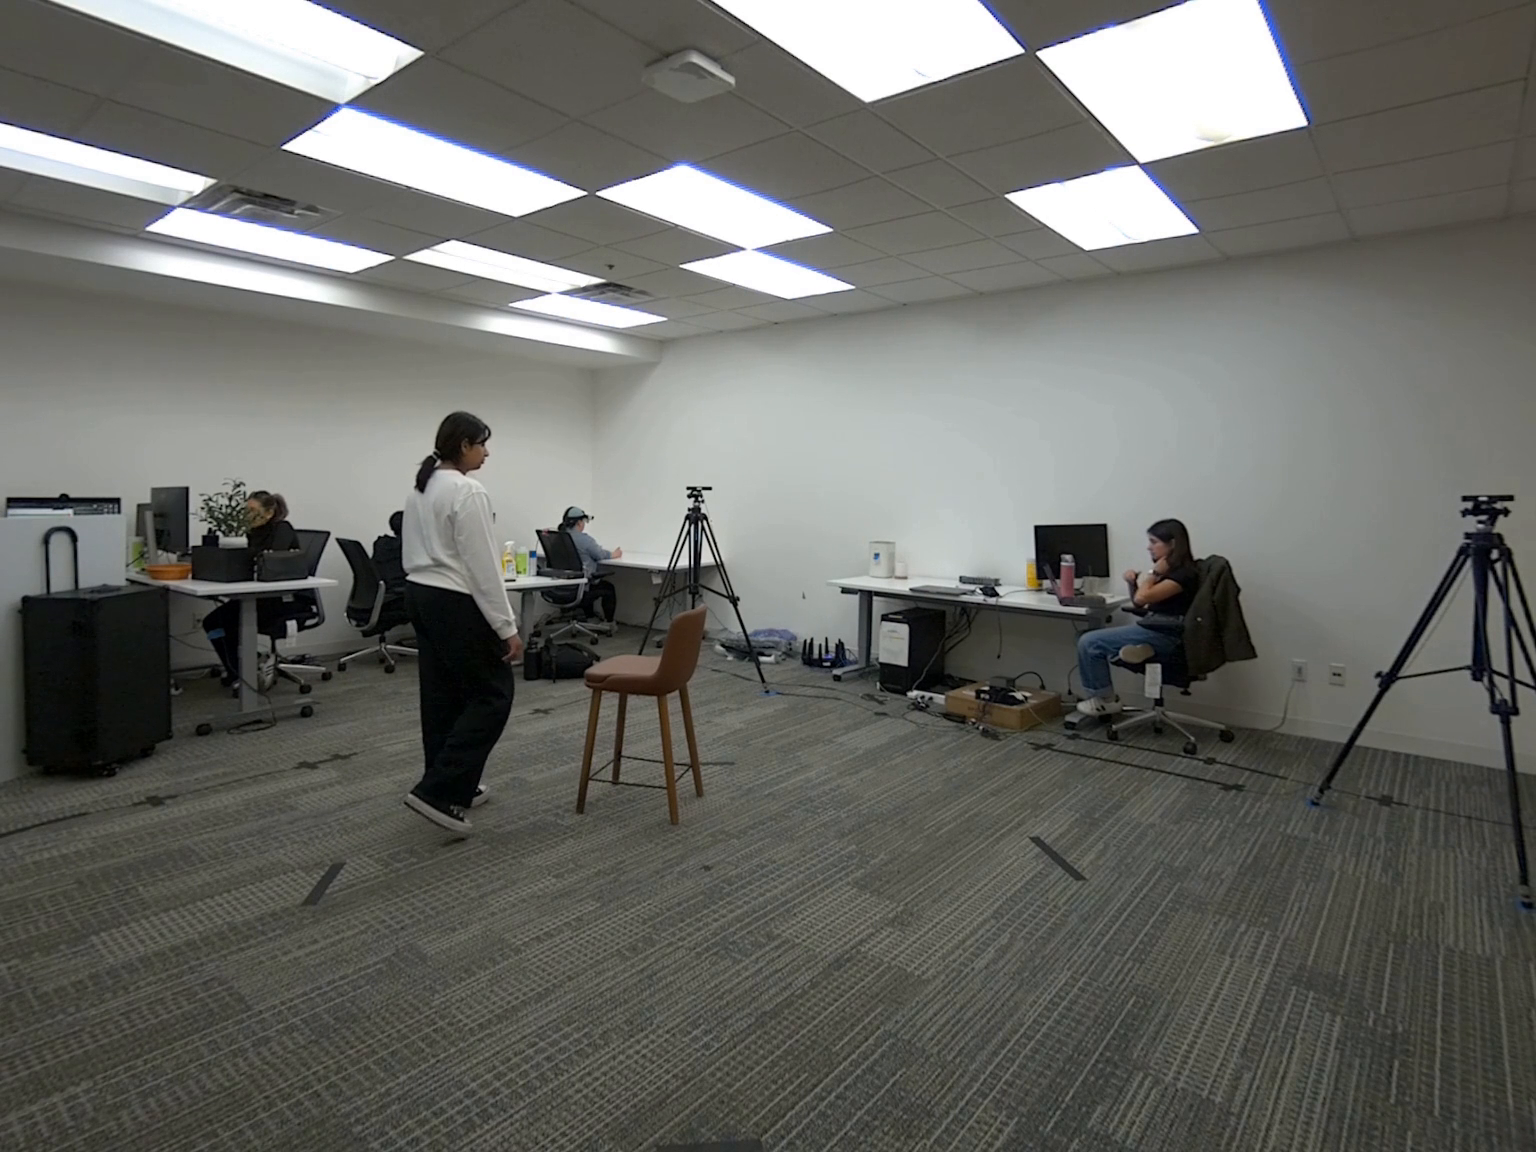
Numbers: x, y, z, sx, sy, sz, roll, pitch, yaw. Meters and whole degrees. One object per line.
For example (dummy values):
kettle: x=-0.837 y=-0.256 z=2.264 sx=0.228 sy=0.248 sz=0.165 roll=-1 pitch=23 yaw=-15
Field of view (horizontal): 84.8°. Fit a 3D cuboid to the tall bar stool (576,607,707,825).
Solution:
tall bar stool: x=-0.543 y=0.568 z=3.721 sx=0.477 sy=0.887 sz=0.449 roll=4 pitch=4 yaw=17
